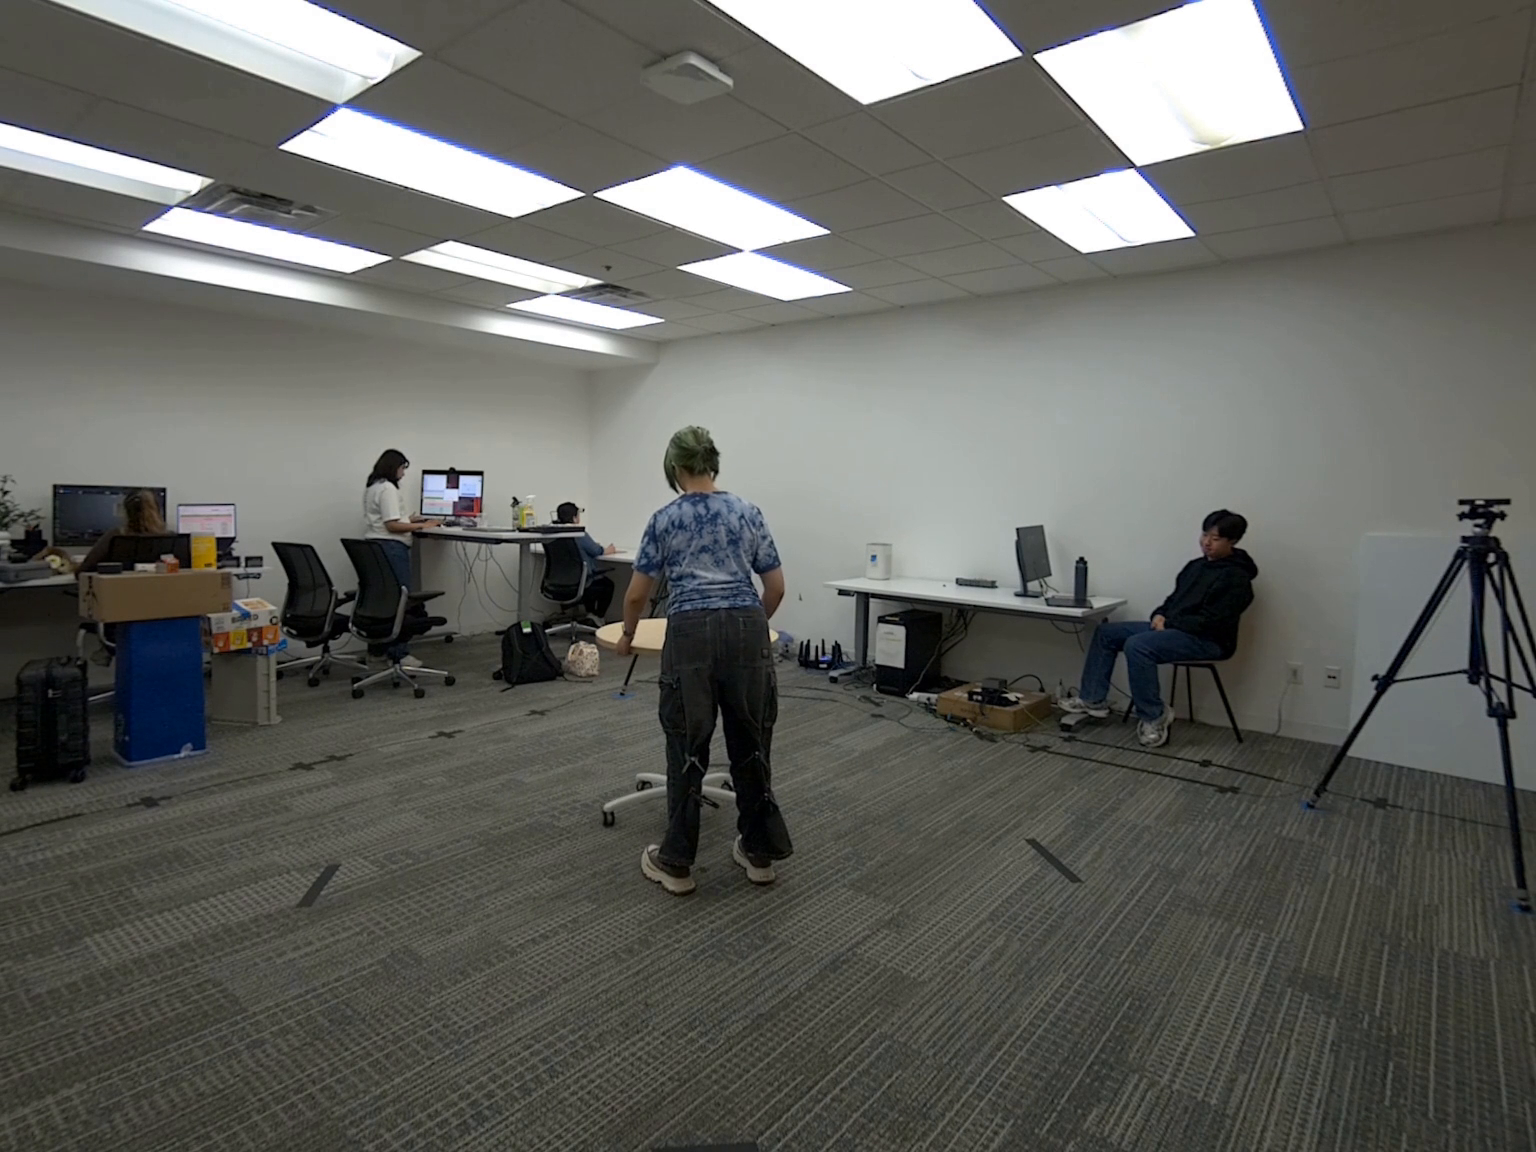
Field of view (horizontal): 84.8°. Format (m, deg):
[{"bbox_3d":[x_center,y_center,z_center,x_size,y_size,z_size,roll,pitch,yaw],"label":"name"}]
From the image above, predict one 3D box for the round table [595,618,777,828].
[{"bbox_3d":[-0.361,0.631,3.600,0.763,0.791,0.768,1,4,-2],"label":"round table"}]
